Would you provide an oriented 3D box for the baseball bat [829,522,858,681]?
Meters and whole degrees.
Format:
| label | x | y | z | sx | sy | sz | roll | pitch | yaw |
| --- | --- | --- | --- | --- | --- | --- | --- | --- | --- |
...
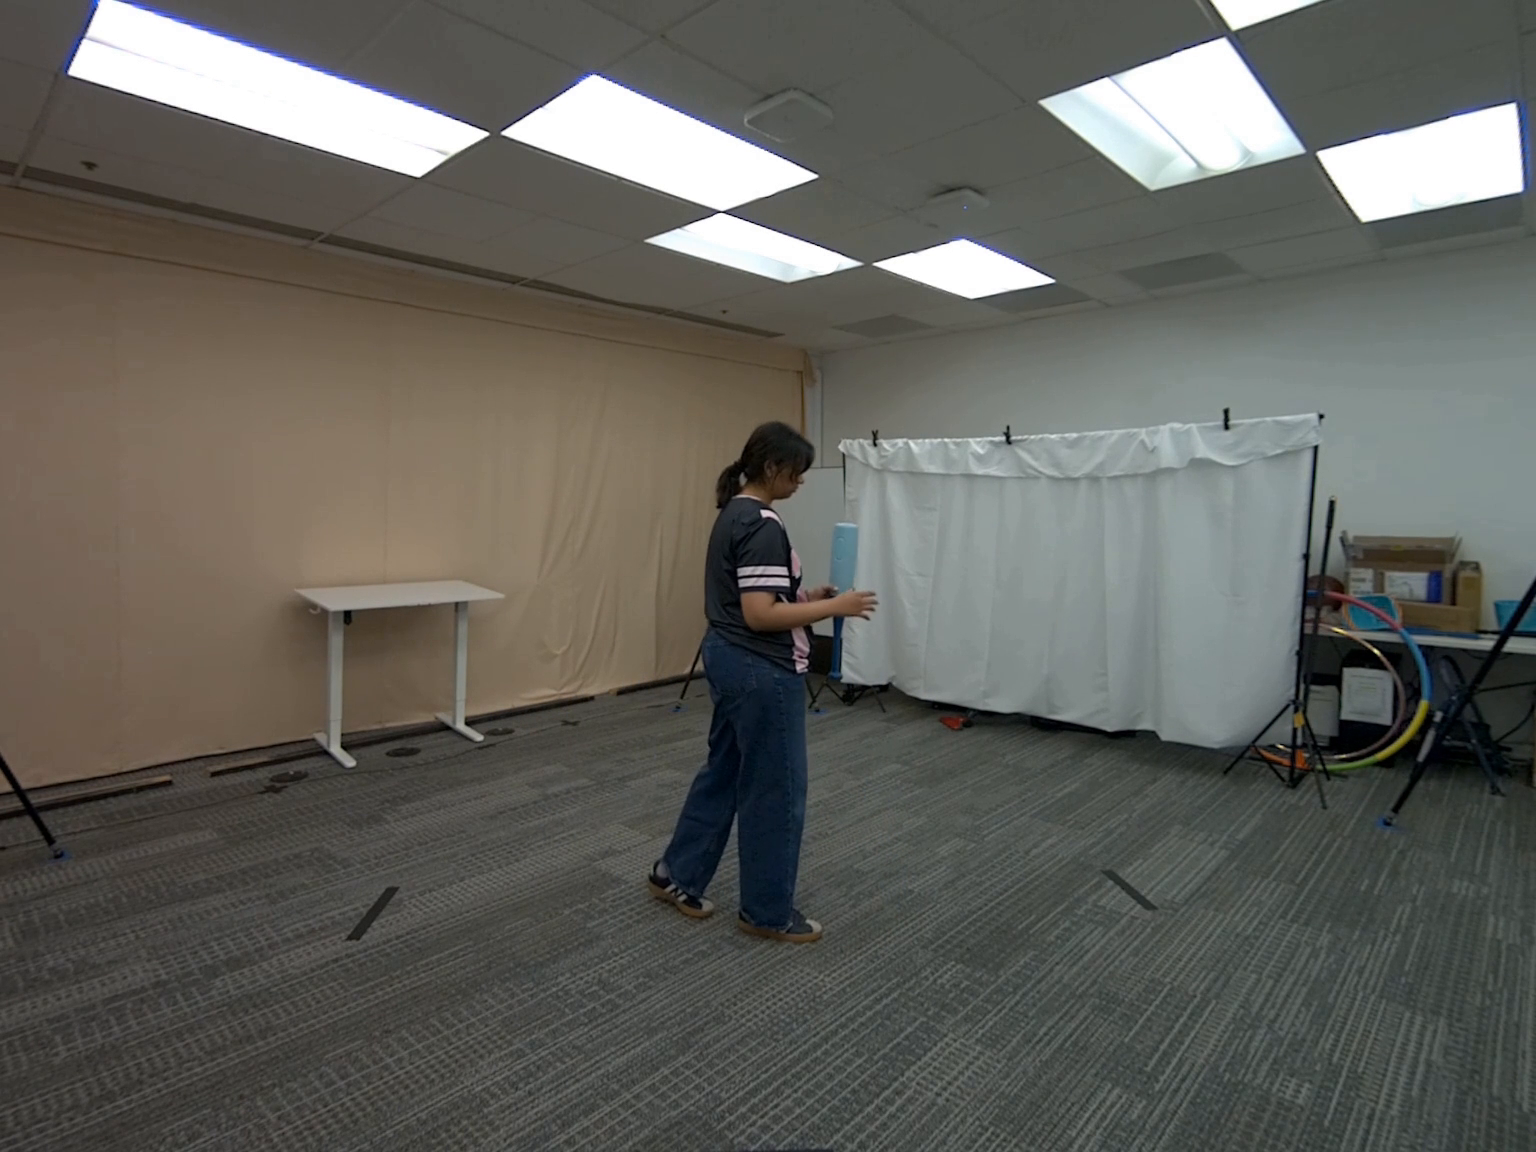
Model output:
| label | x | y | z | sx | sy | sz | roll | pitch | yaw |
| --- | --- | --- | --- | --- | --- | --- | --- | --- | --- |
| baseball bat | 0.264 | 0.084 | 2.896 | 0.089 | 0.542 | 0.089 | 4 | 2 | -2 |
